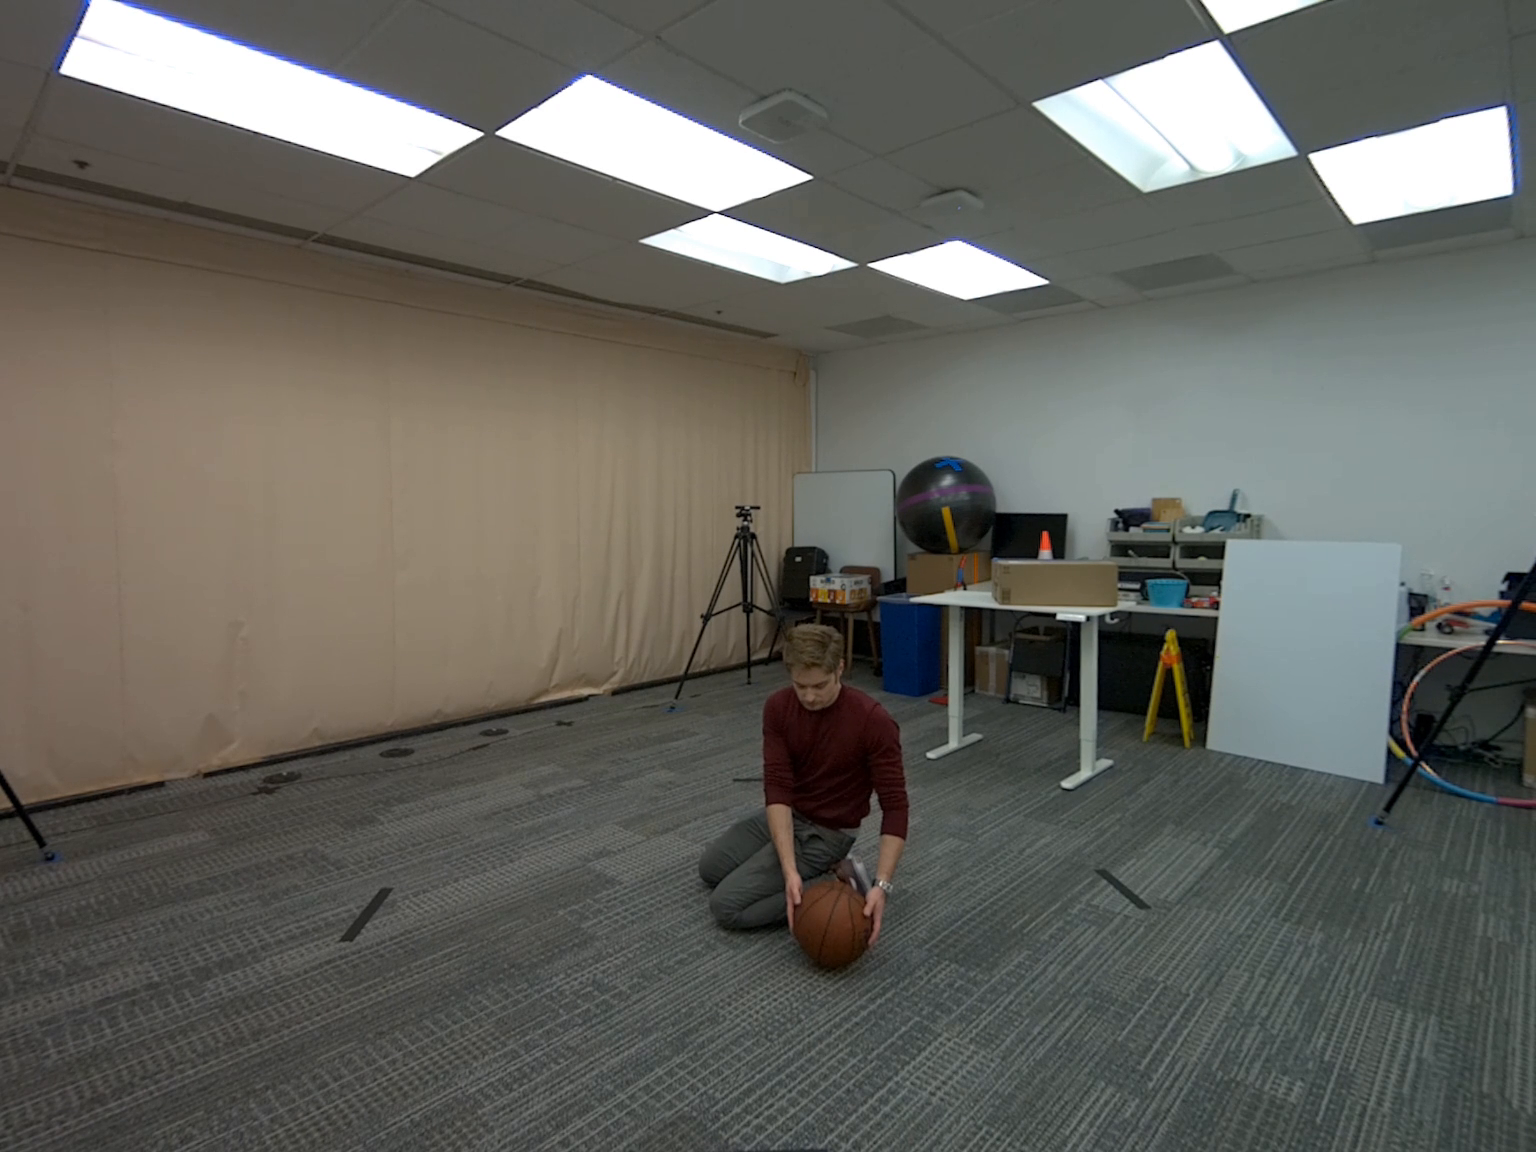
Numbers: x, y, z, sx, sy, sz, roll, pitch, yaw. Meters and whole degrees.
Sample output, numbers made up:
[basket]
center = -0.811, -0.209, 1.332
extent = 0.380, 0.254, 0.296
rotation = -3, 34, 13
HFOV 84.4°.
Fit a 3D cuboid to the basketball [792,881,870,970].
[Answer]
[basketball]
center = 0.200, 1.040, 2.550
extent = 0.236, 0.235, 0.237
rotation = 0, 4, -2
